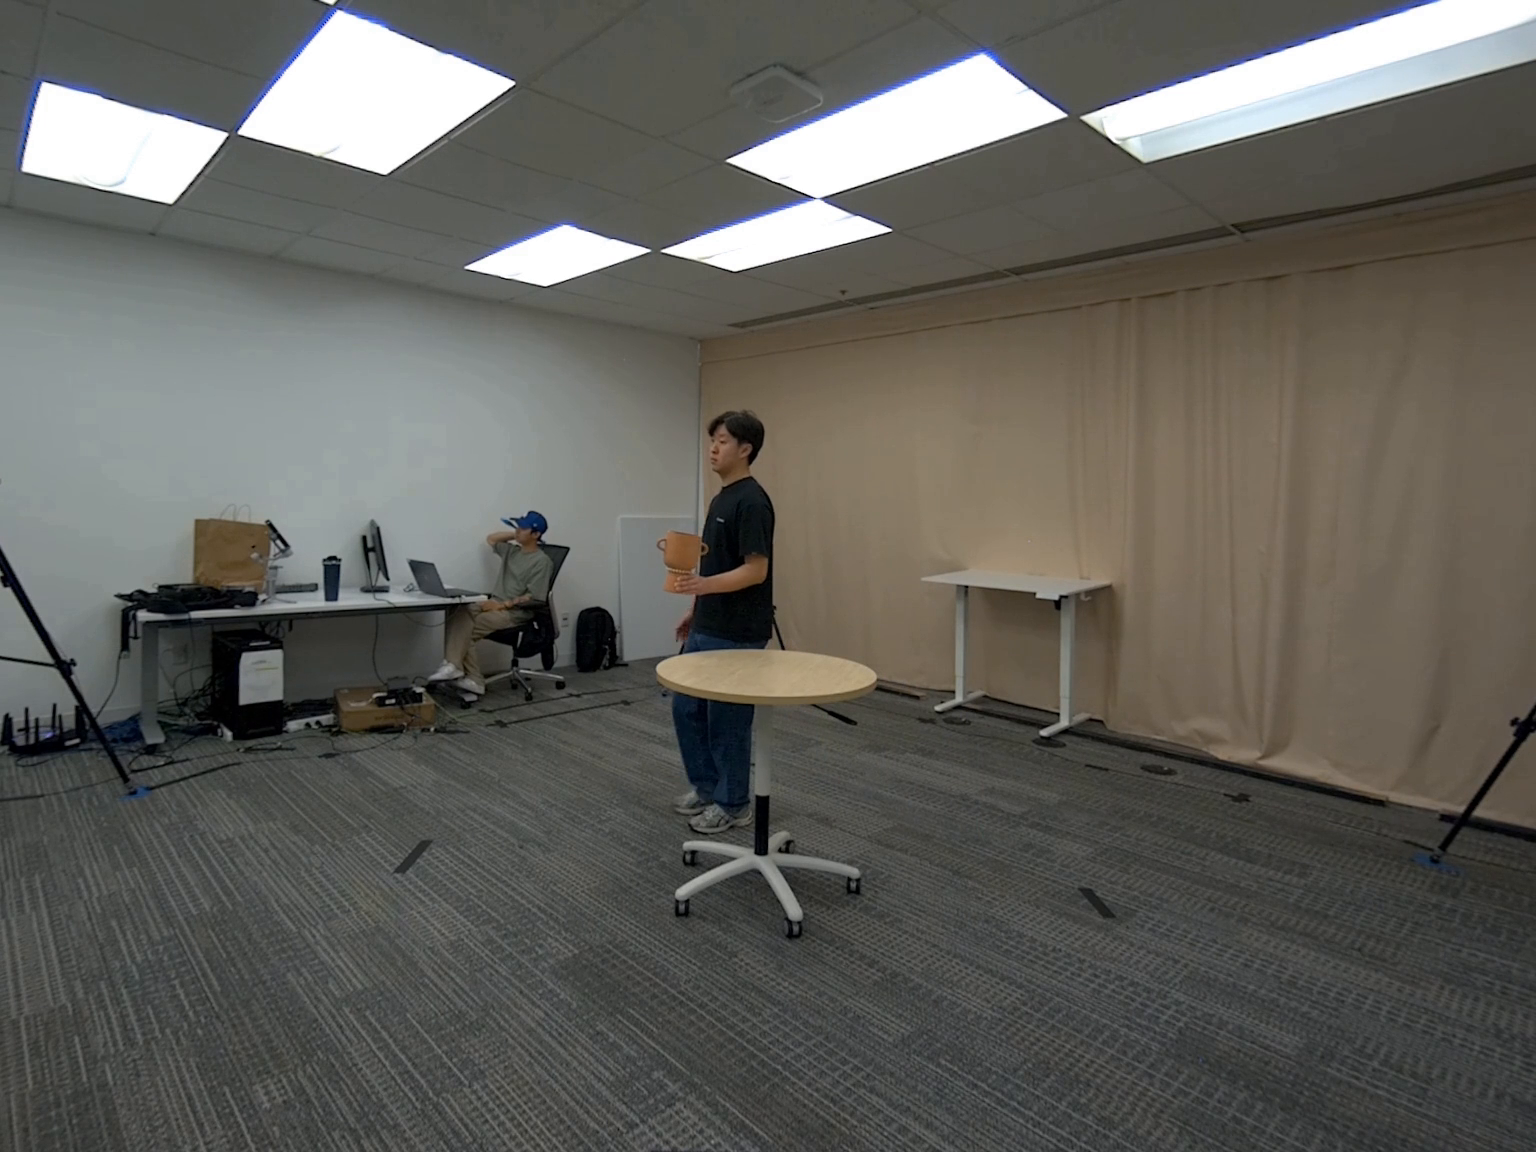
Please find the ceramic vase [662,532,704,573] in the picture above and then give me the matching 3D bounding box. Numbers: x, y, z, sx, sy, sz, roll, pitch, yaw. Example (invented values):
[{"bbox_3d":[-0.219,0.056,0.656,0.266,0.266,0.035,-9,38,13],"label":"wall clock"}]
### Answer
[{"bbox_3d":[-0.342,-0.049,3.139,0.162,0.219,0.132,9,3,22],"label":"ceramic vase"}]
